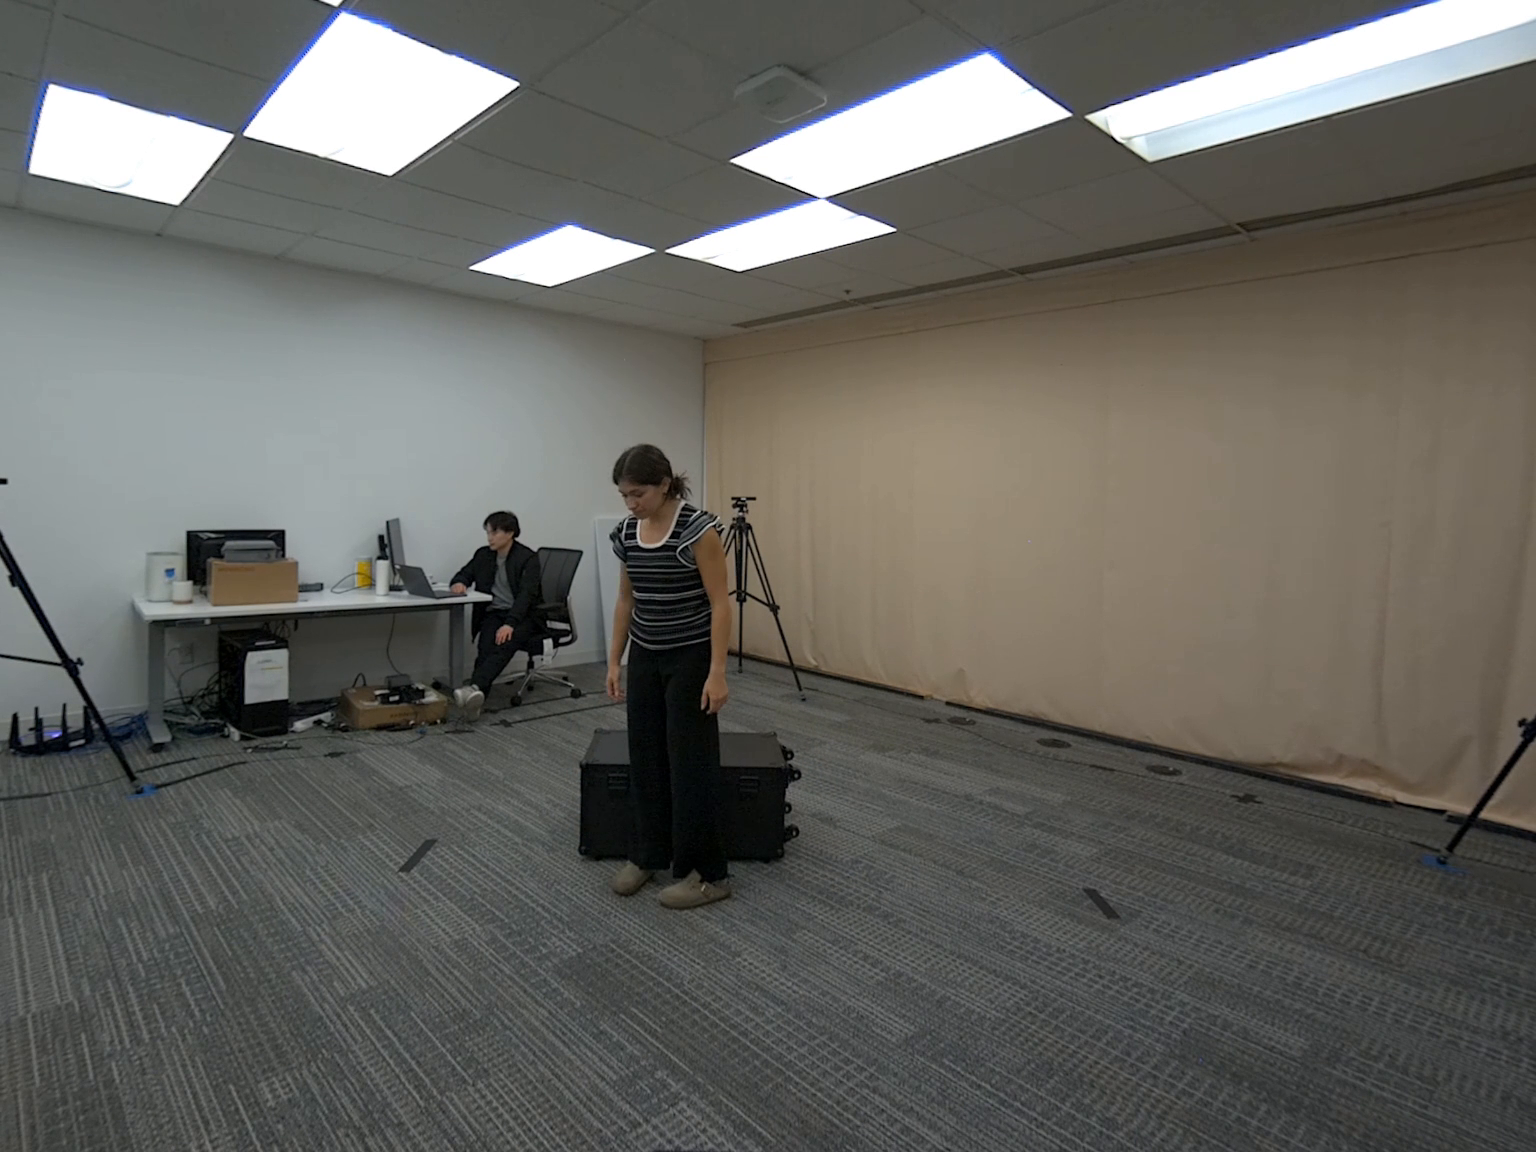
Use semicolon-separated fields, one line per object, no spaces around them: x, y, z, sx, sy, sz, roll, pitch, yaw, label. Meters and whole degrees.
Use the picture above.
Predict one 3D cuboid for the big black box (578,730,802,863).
-0.314;0.881;3.432;0.859;0.395;0.524;1;5;-4;big black box
